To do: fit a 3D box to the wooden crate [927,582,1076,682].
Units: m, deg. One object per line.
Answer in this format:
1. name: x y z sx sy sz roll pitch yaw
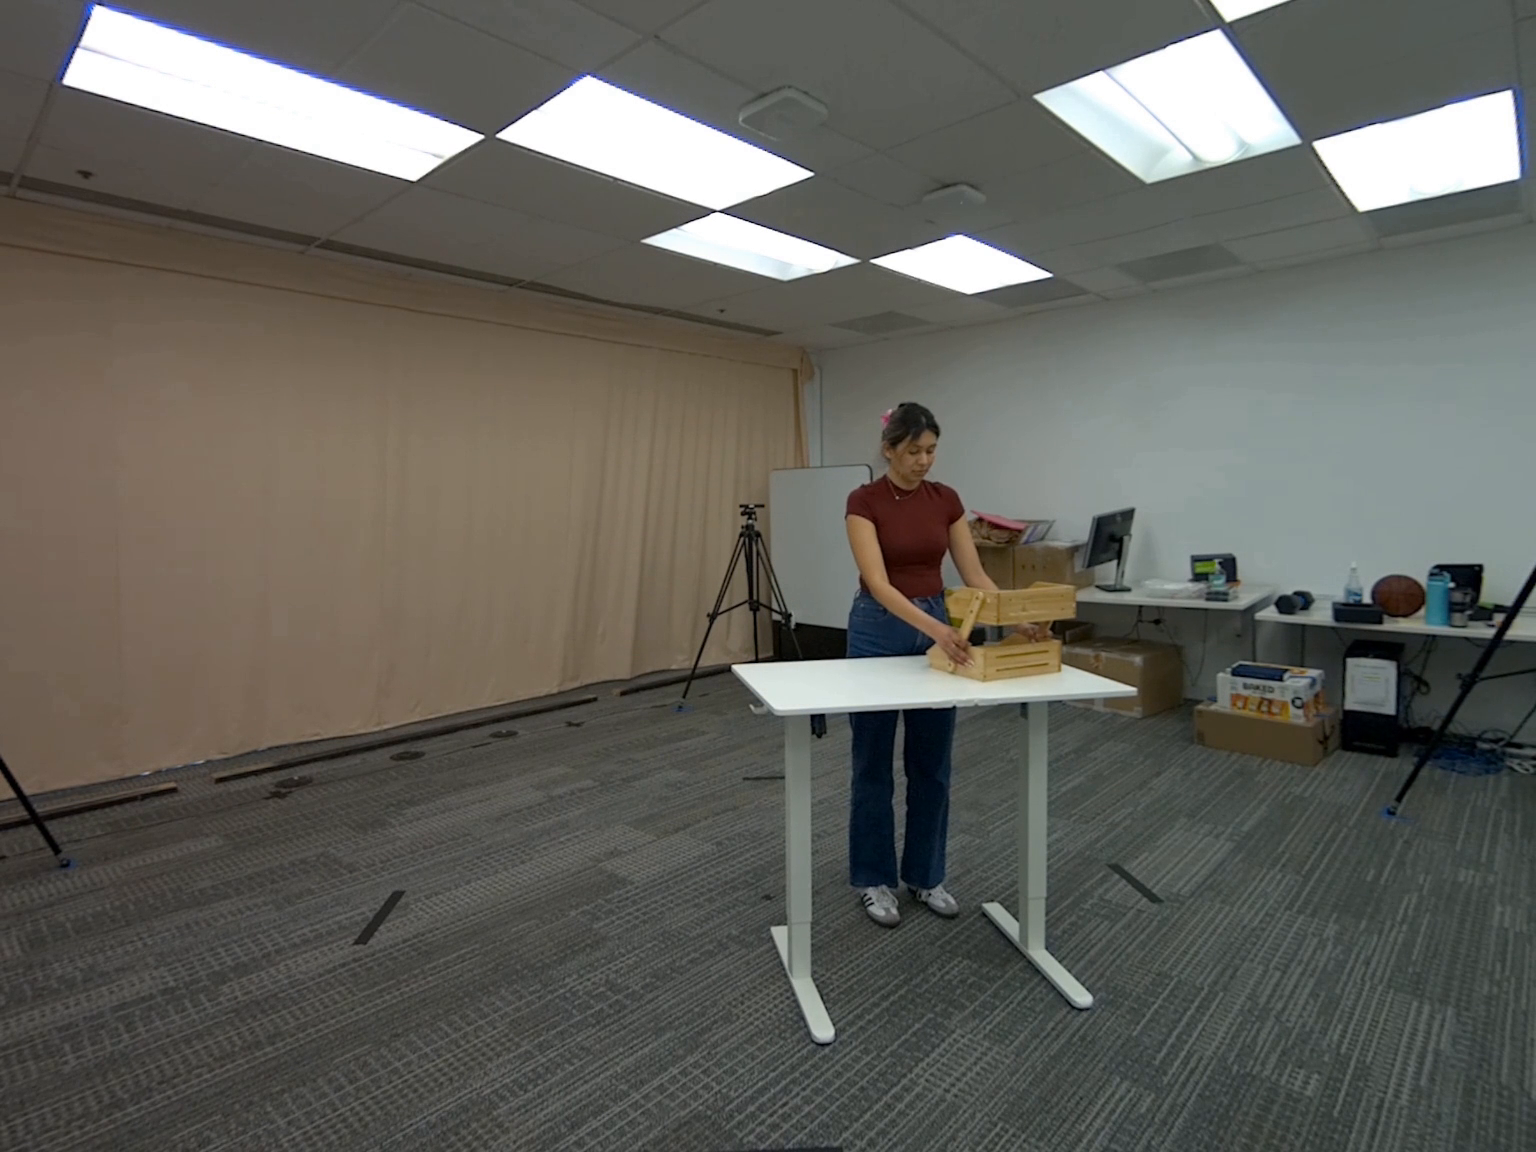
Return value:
1. wooden crate: 0.695 0.153 2.523 0.316 0.272 0.310 -3 6 -27
